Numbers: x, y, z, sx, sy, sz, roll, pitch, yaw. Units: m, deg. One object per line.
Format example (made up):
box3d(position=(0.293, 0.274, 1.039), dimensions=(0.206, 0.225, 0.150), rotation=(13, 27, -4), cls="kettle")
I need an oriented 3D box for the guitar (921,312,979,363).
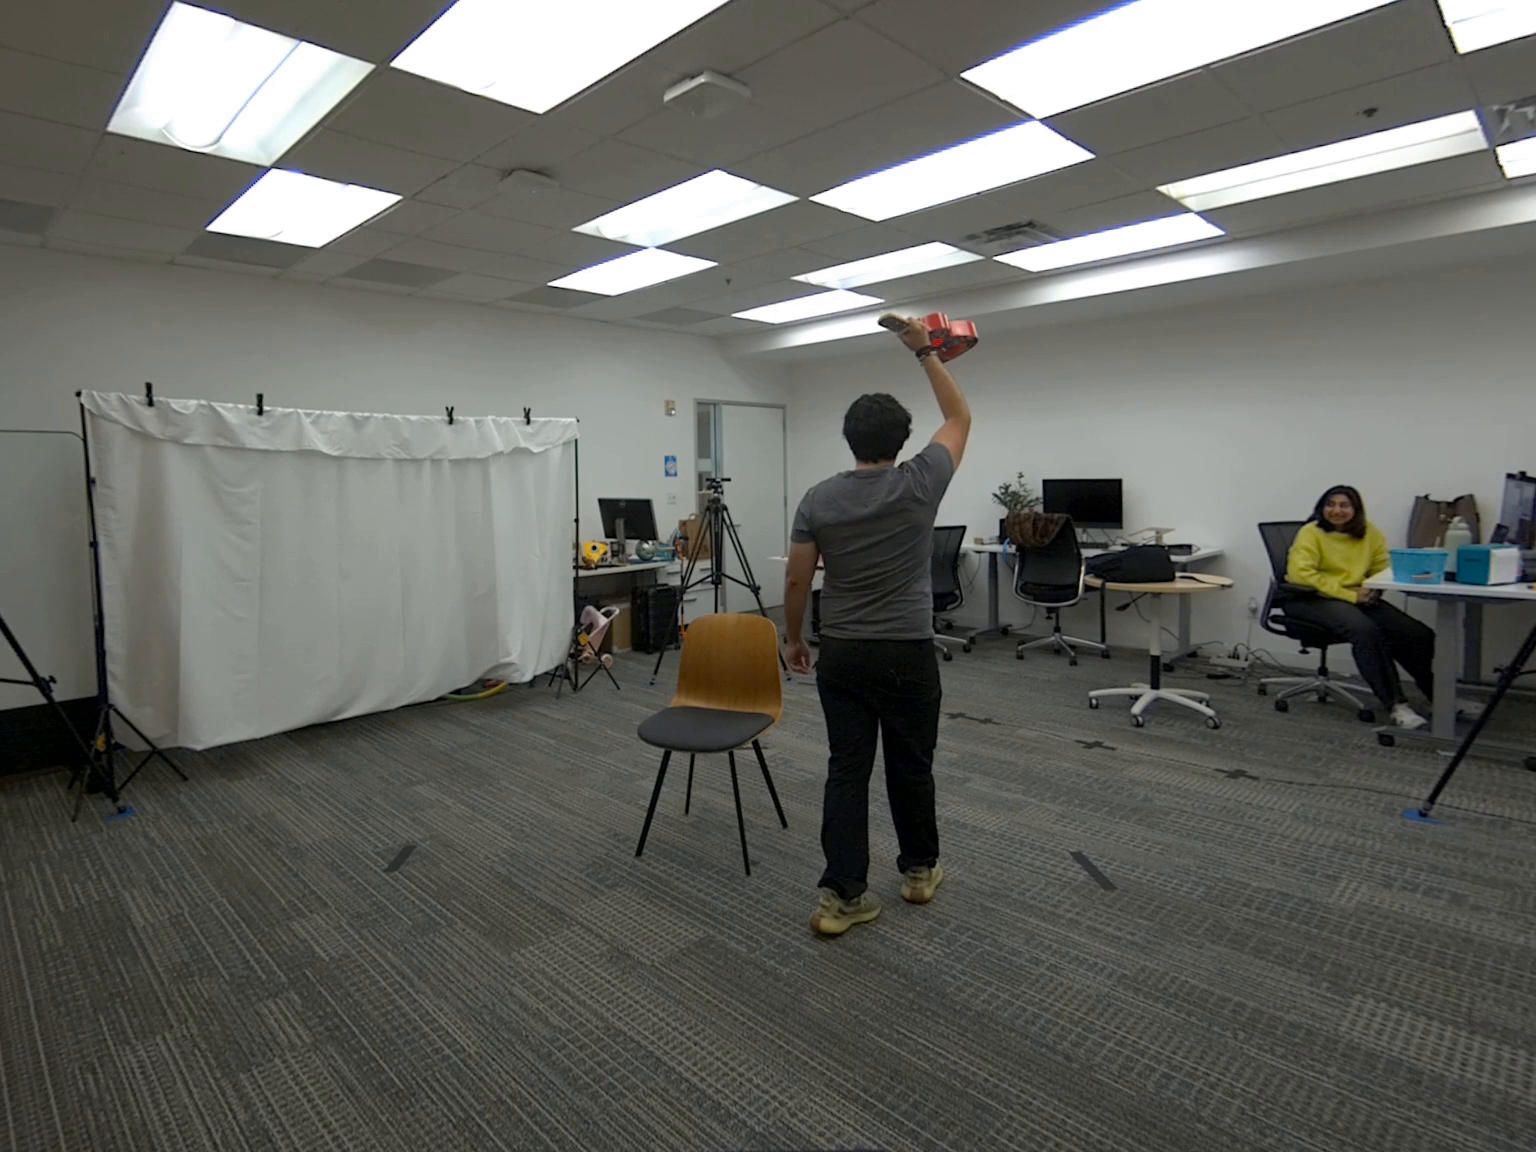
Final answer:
box3d(position=(0.547, -0.823, 2.802), dimensions=(0.196, 0.072, 0.482), rotation=(-21, -16, 29), cls="guitar")
